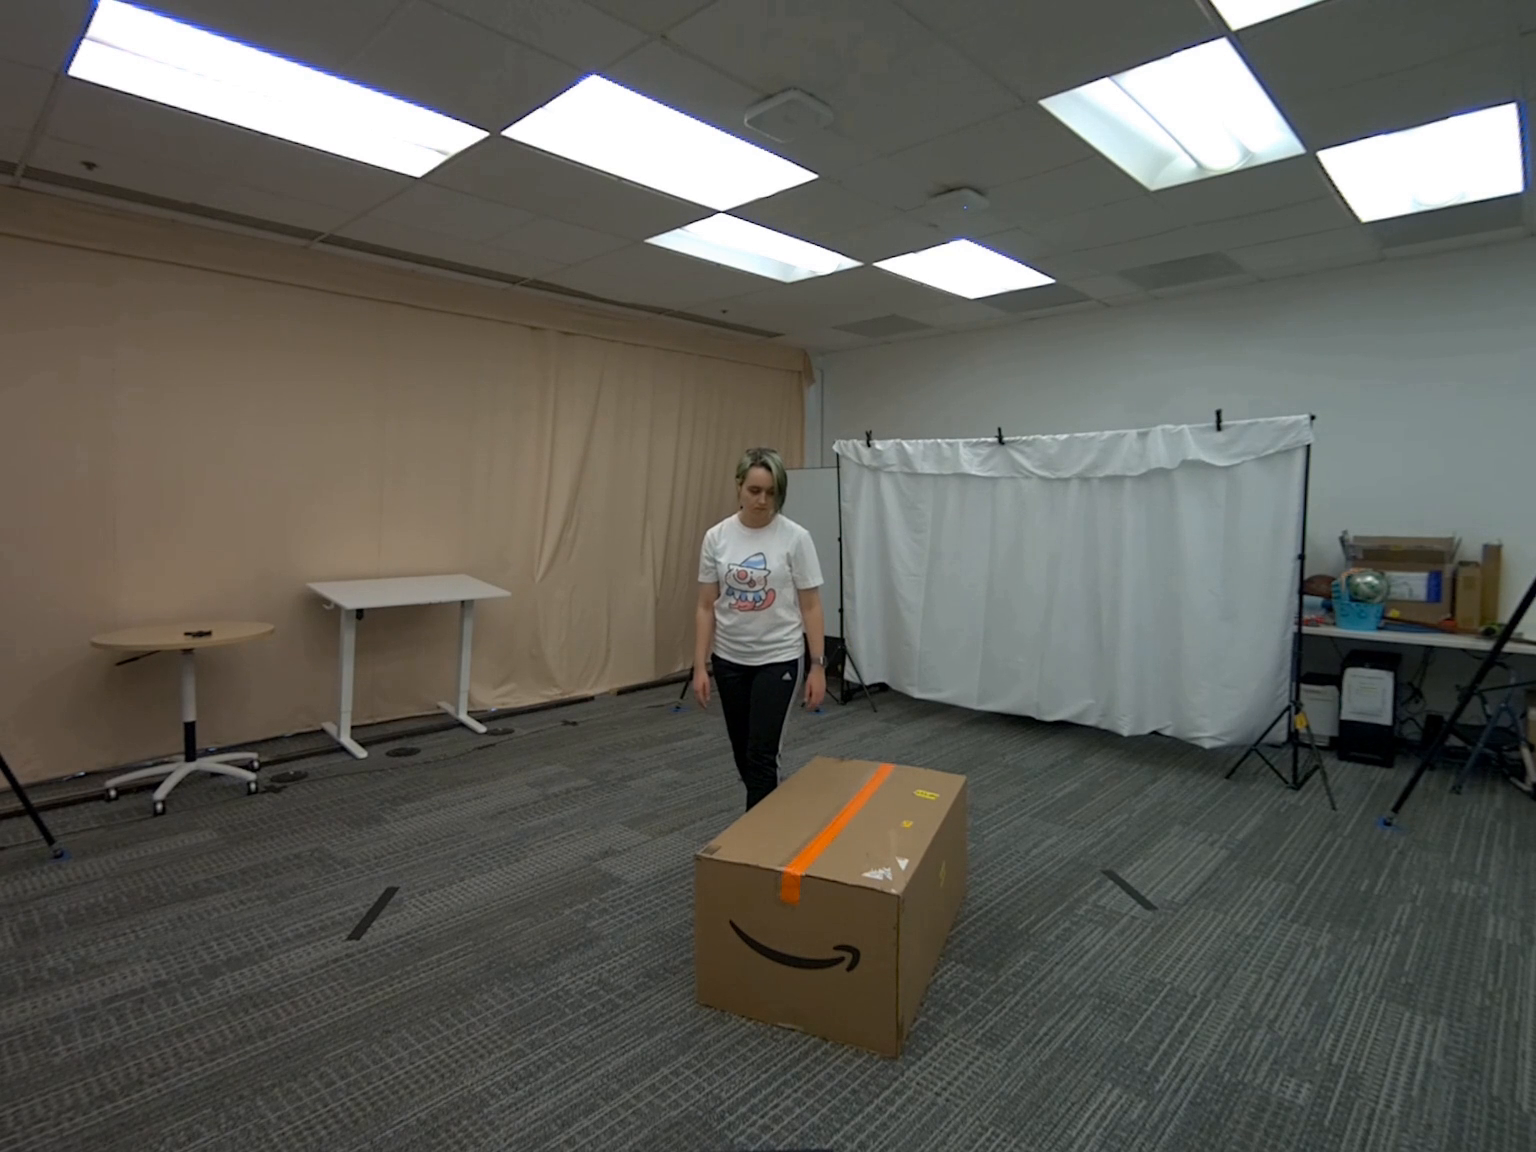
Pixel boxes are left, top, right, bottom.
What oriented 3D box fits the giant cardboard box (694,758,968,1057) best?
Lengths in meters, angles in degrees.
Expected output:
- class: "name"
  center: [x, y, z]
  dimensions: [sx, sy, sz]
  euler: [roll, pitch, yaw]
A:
- class: "giant cardboard box"
  center: [0.260, 0.951, 2.680]
  dimensions: [0.592, 0.425, 1.003]
  euler: [2, 5, 23]
